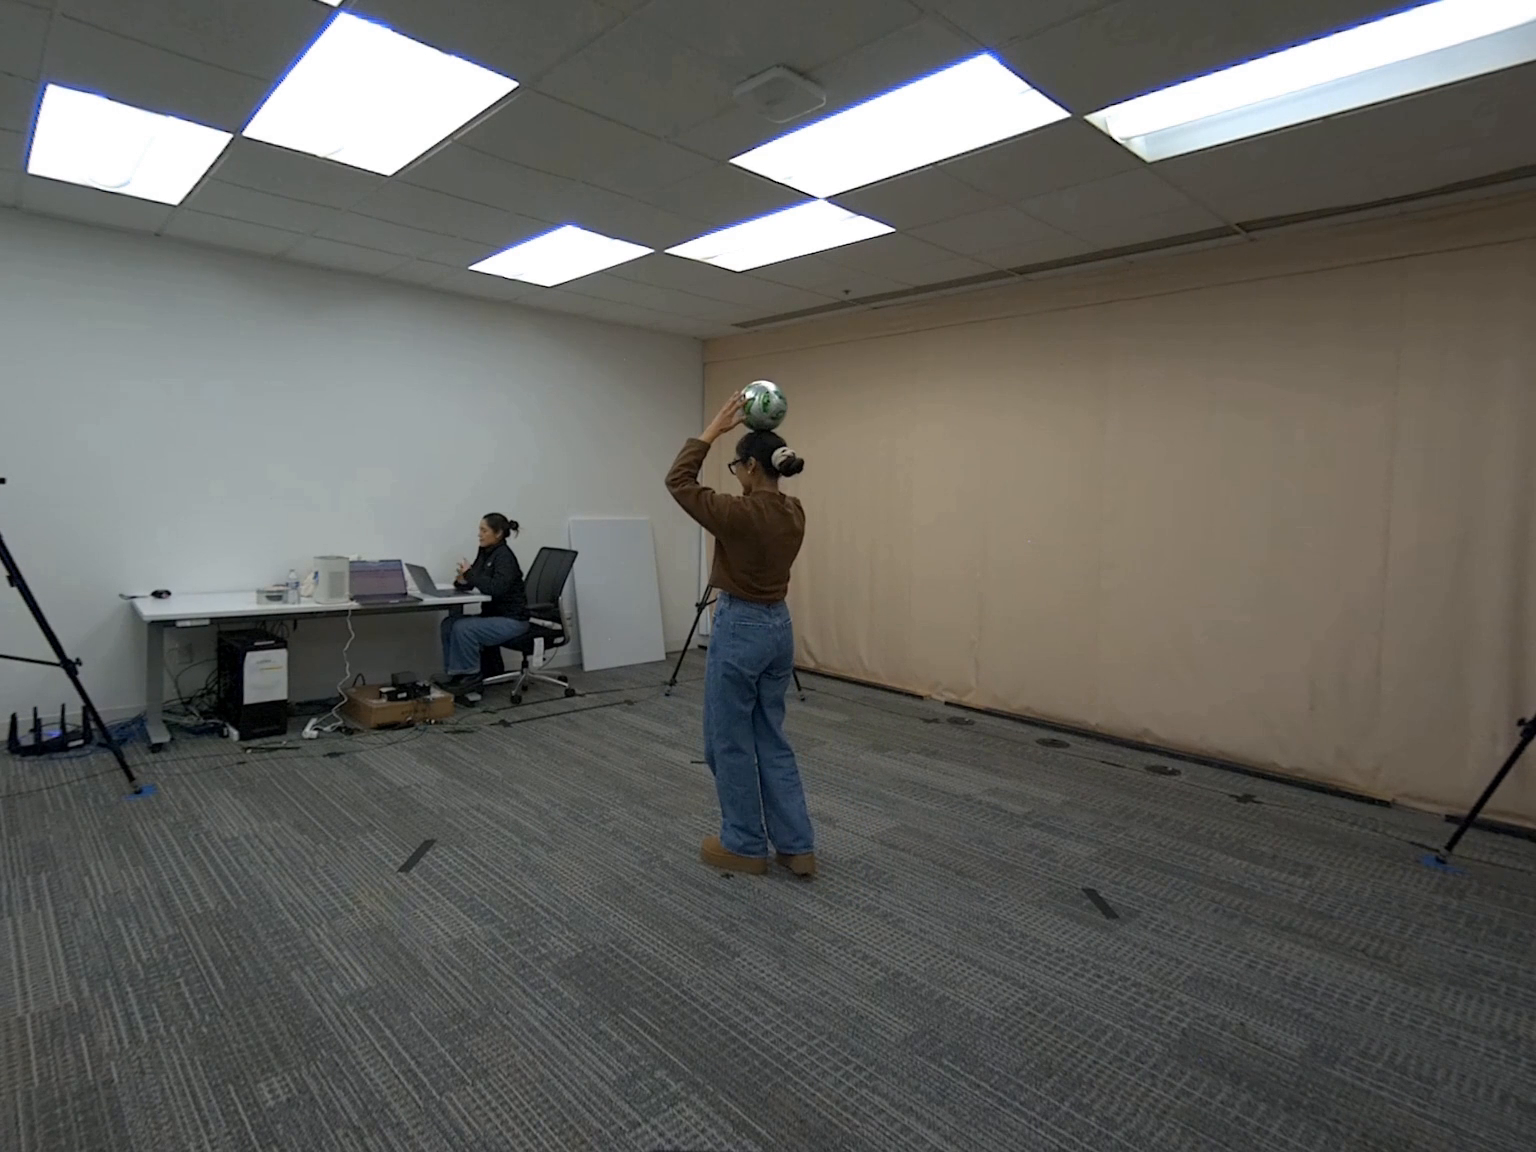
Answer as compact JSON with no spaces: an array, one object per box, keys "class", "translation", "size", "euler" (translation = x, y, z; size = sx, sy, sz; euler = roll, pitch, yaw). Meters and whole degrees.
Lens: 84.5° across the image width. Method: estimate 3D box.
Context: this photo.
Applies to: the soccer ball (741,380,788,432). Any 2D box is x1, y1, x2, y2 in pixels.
[{"class":"soccer ball","translation":[-0.027,-0.618,3.087],"size":[0.187,0.187,0.188],"euler":[1,4,-1]}]
